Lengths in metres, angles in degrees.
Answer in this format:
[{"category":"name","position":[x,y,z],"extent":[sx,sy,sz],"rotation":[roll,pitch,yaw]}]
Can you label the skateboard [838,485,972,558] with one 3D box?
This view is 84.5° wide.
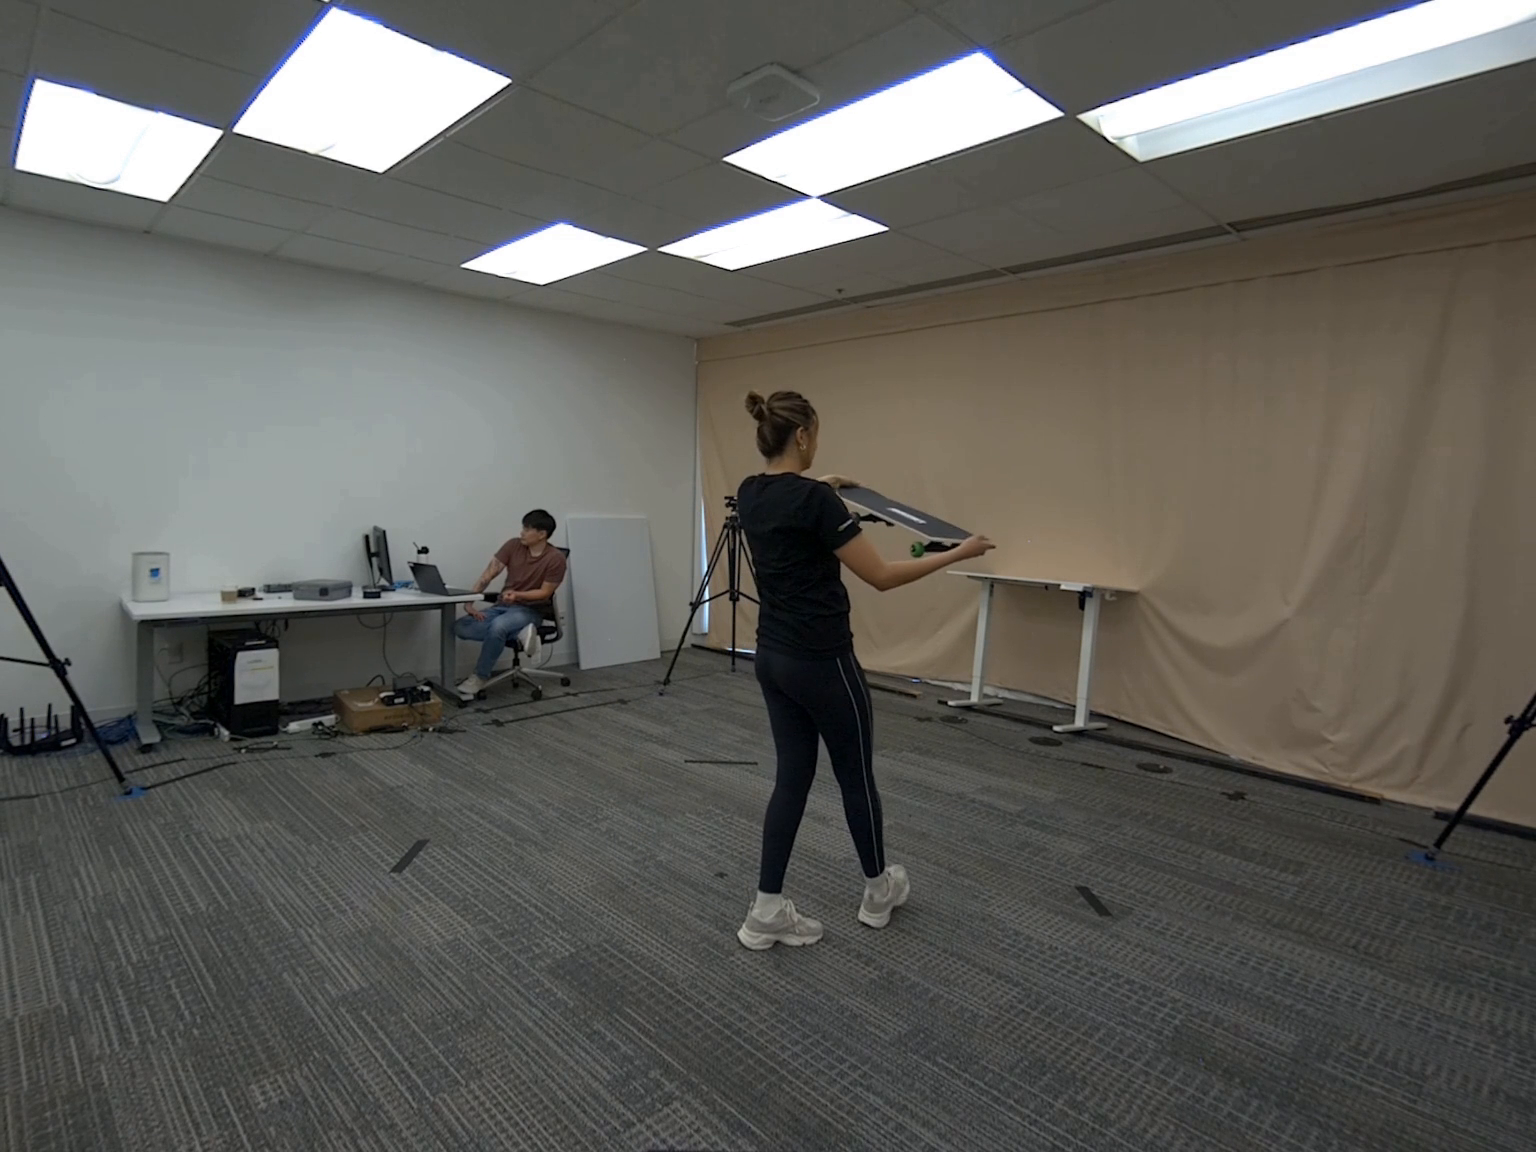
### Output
[{"category":"skateboard","position":[0.454,-0.176,2.892],"extent":[0.190,0.109,0.808],"rotation":[-1,19,-25]}]
